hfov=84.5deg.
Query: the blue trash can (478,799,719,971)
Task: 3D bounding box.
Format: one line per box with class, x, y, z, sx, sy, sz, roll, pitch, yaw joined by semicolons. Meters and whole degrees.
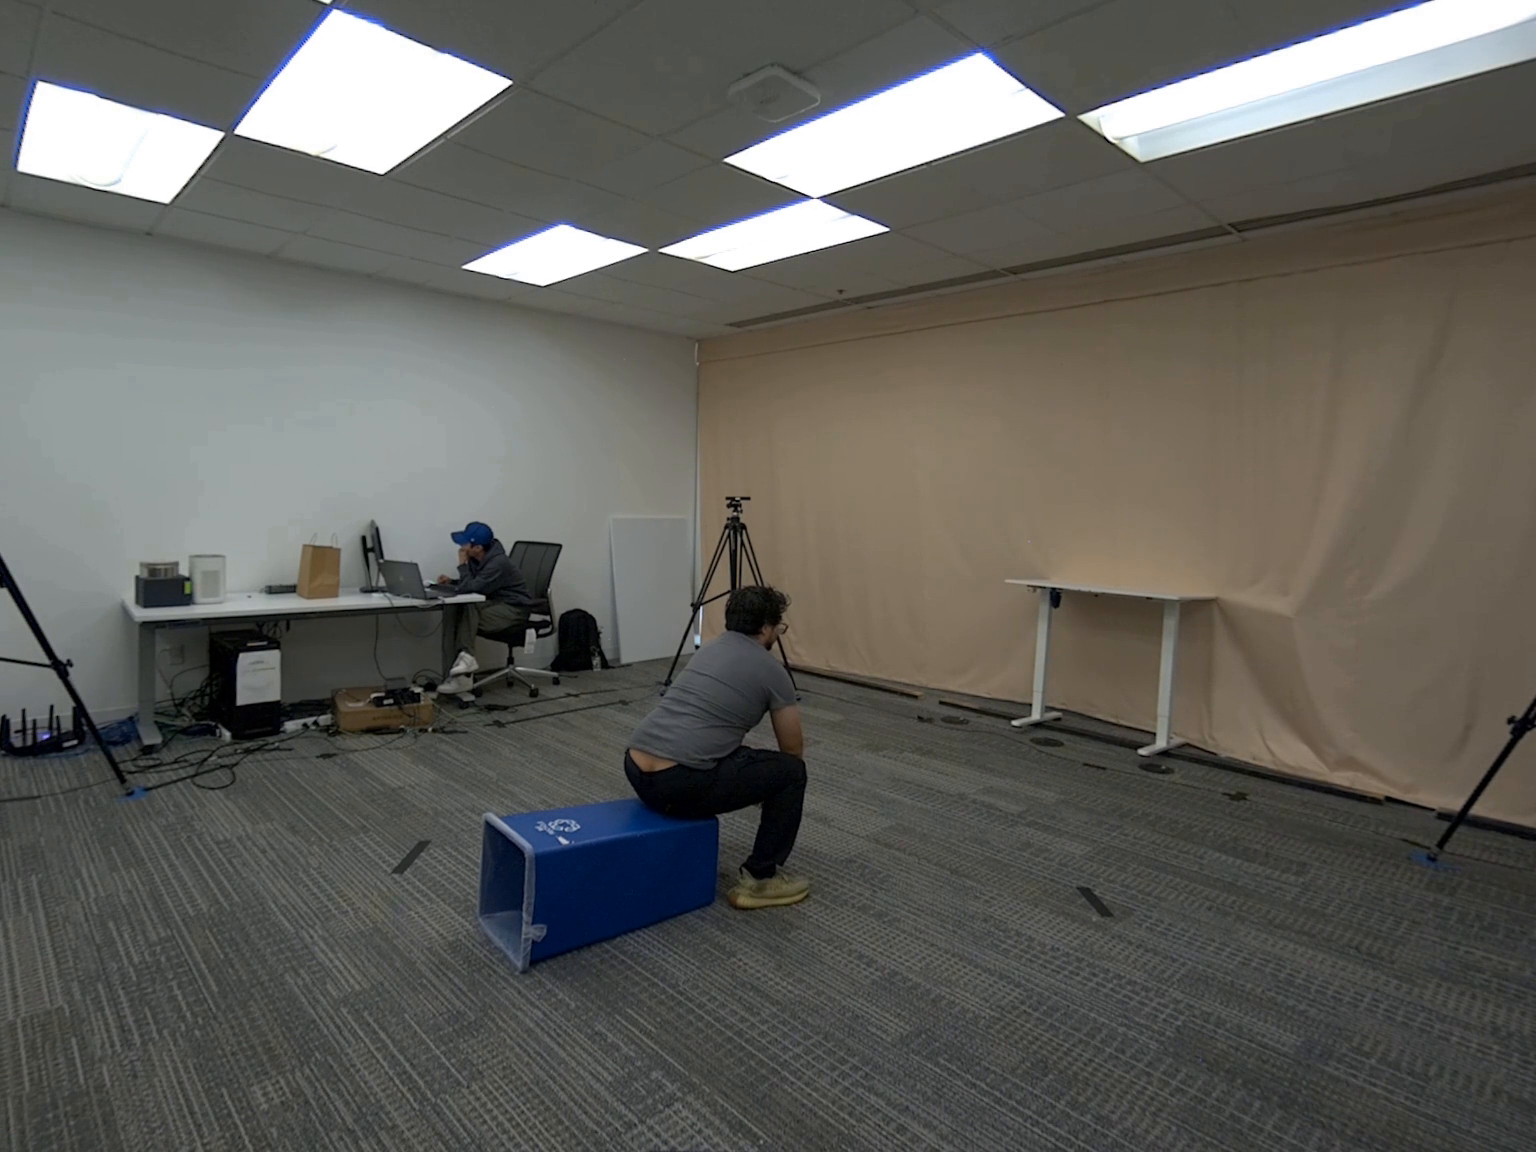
blue trash can;-0.554;0.953;2.777;0.697;0.373;0.387;0;4;-38
